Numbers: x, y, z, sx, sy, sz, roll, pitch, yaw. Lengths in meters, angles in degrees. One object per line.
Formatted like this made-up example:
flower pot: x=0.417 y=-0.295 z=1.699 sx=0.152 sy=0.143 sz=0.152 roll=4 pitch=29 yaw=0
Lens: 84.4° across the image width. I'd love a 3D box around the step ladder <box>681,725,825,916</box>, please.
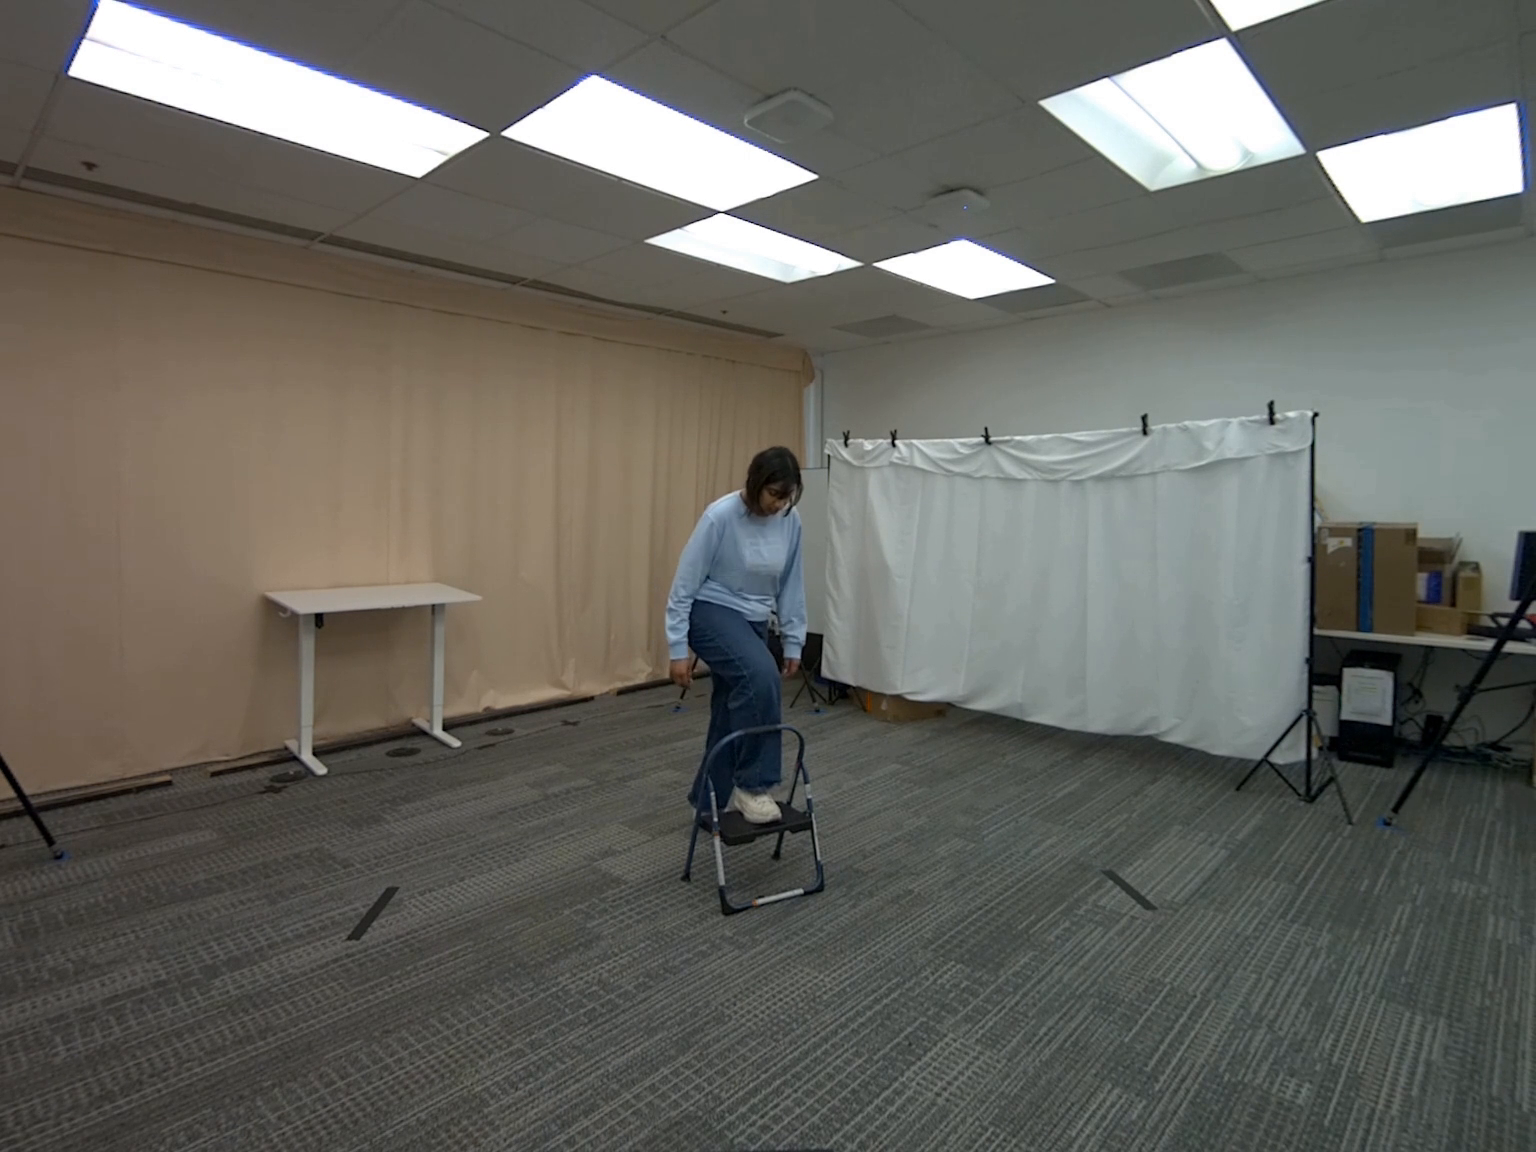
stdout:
step ladder: x=-0.055 y=0.835 z=3.082 sx=0.419 sy=0.605 sz=0.359 roll=-3 pitch=4 yaw=-30
